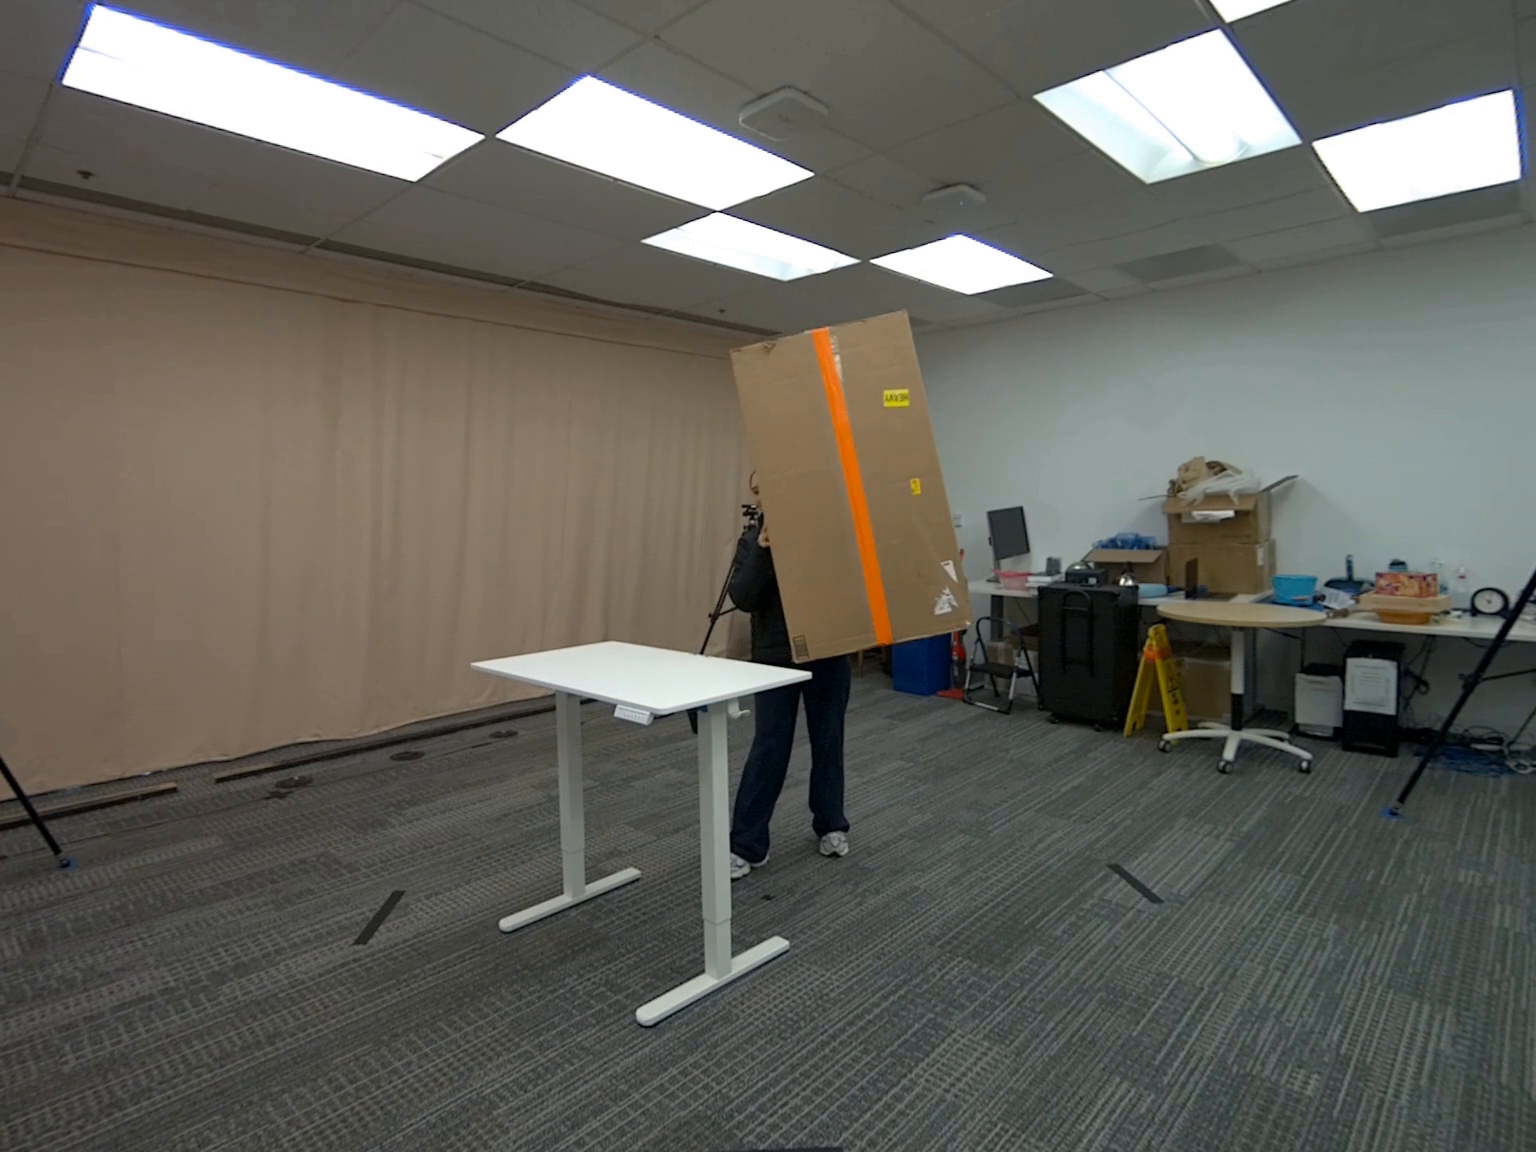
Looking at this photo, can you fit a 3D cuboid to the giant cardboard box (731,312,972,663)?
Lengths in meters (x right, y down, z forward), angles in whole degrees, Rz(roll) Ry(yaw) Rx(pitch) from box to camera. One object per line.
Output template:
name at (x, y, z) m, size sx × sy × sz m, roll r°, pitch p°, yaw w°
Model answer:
giant cardboard box at (0.278, -0.285, 2.862) m, size 0.579 × 1.026 × 0.425 m, roll -12°, pitch 0°, yaw 2°
